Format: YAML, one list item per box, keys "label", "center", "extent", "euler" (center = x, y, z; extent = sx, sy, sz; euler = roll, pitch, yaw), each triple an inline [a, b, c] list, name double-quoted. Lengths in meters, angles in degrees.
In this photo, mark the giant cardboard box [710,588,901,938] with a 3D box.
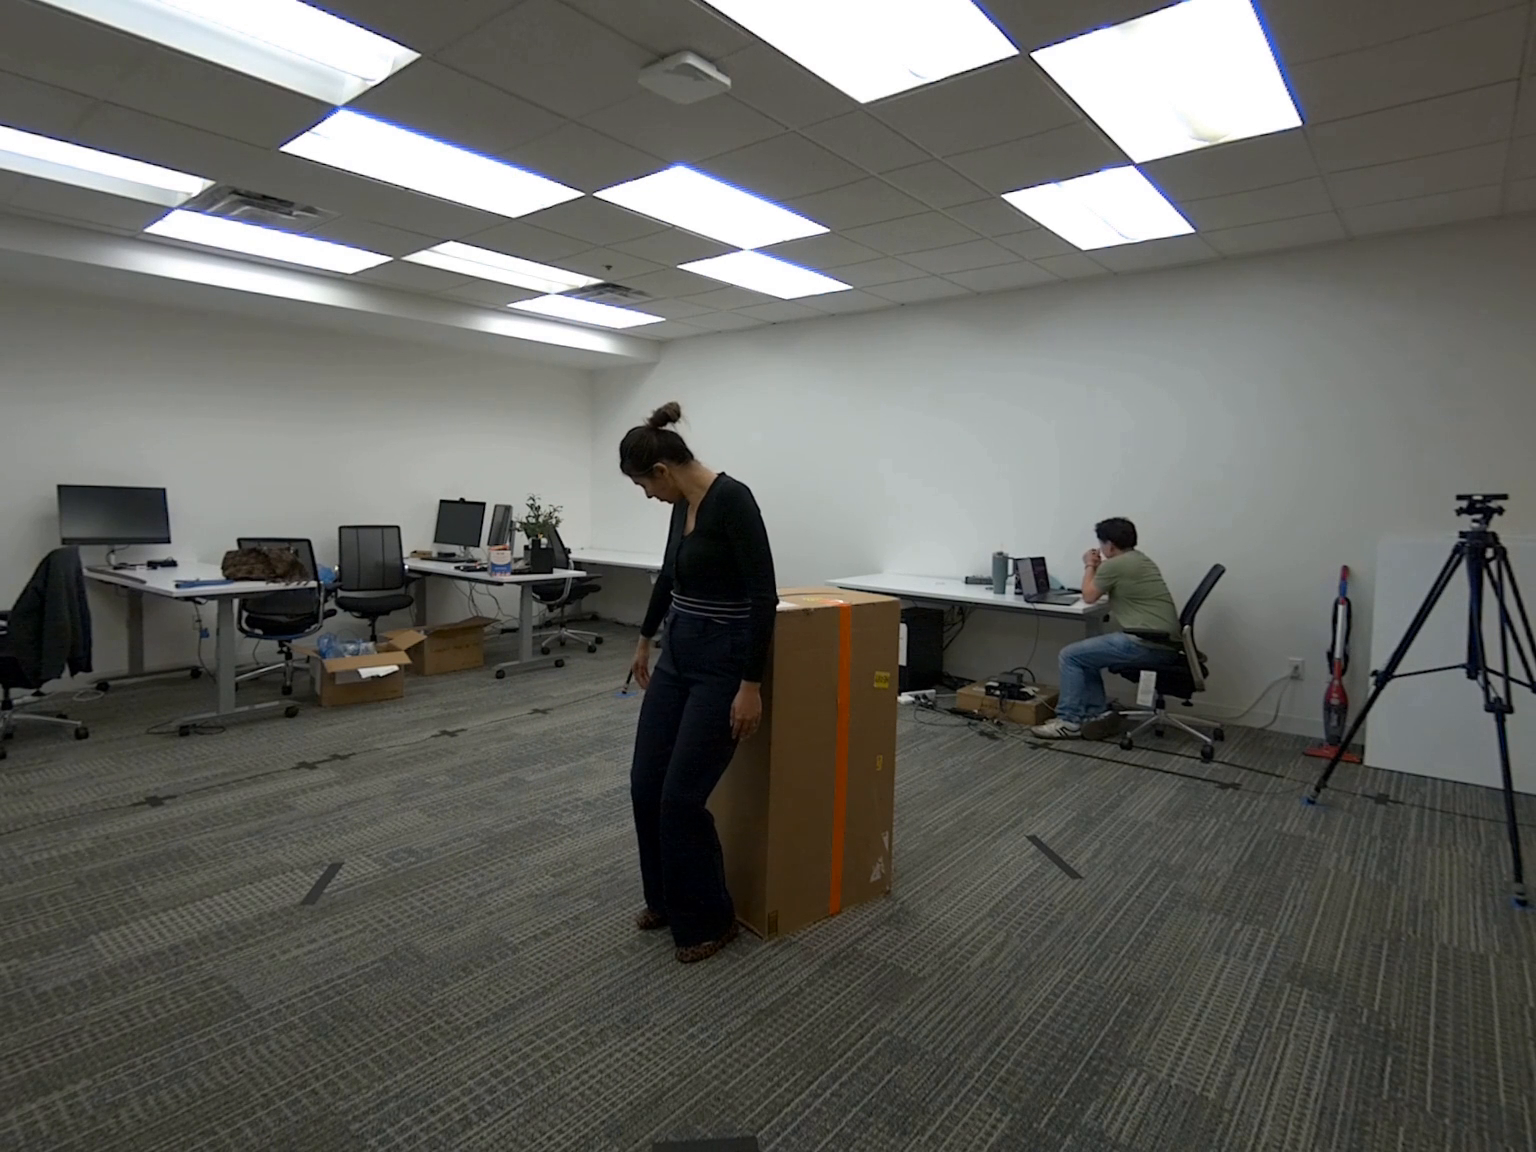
- label: "giant cardboard box"
  center: [0.085, 0.579, 2.926]
  extent: [0.560, 1.023, 0.440]
  euler: [-1, 4, -39]
